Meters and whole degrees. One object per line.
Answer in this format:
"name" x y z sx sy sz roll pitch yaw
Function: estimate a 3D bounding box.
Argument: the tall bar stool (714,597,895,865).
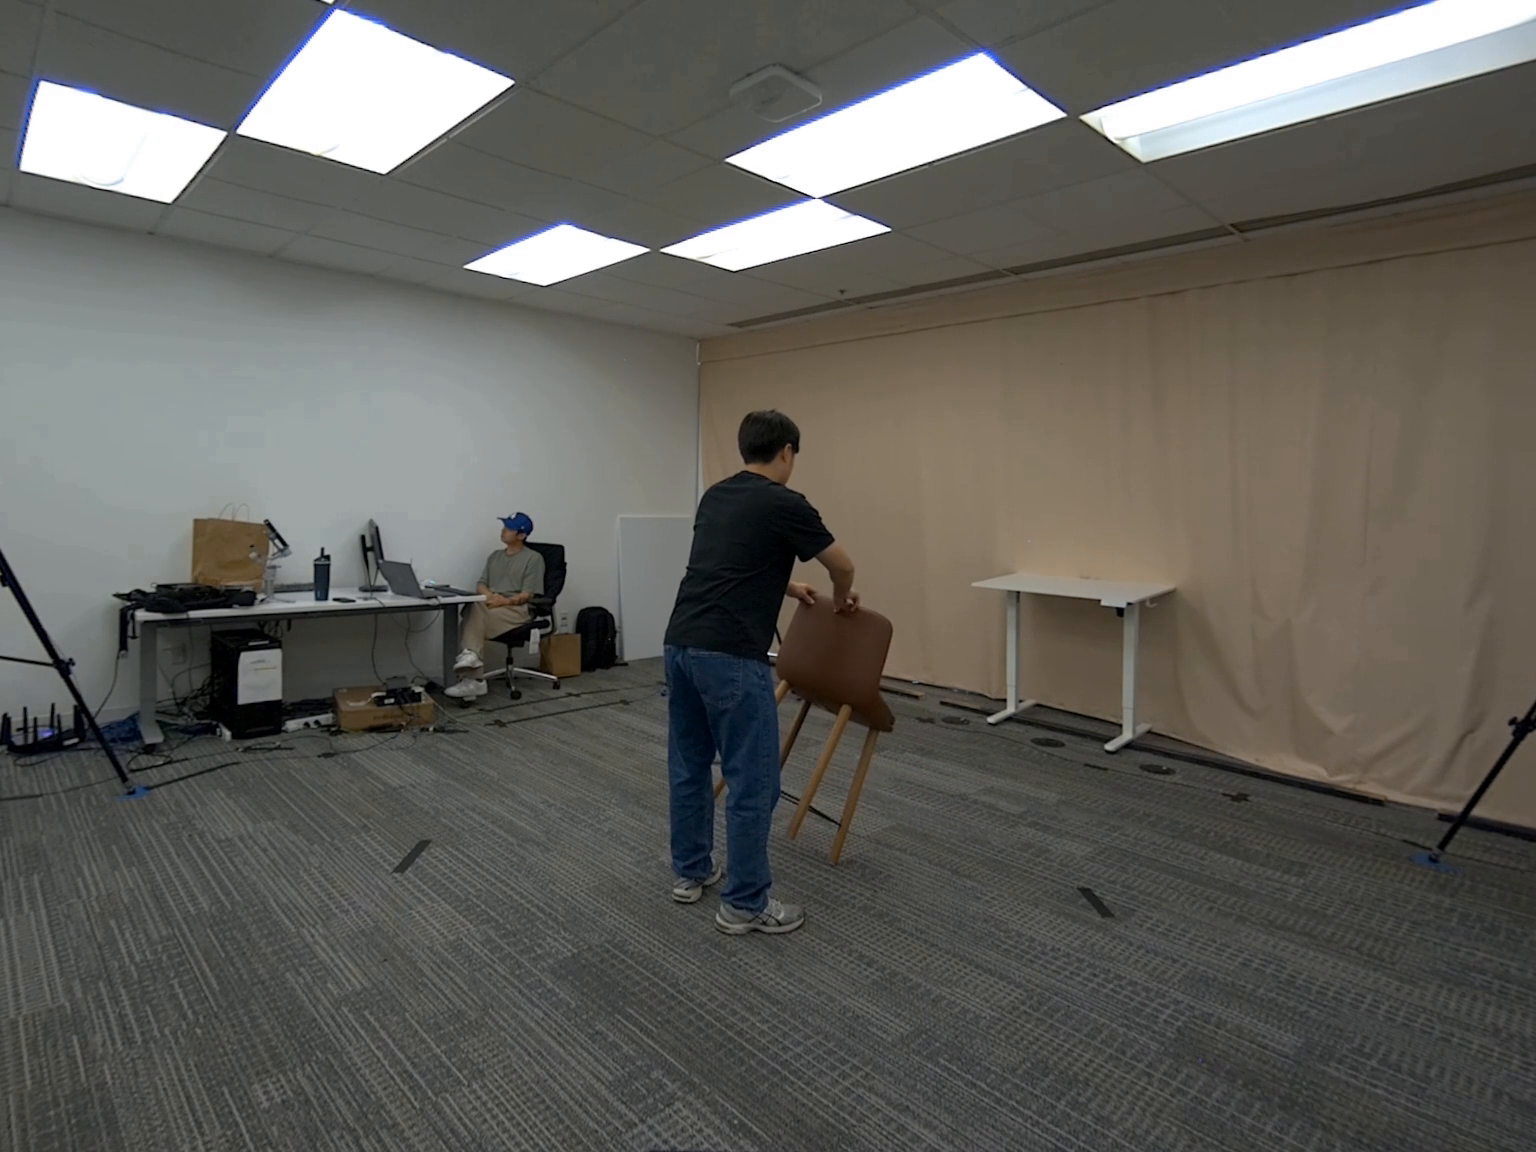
"tall bar stool" 0.199 0.585 3.277 0.468 0.894 0.453 15 -18 33
